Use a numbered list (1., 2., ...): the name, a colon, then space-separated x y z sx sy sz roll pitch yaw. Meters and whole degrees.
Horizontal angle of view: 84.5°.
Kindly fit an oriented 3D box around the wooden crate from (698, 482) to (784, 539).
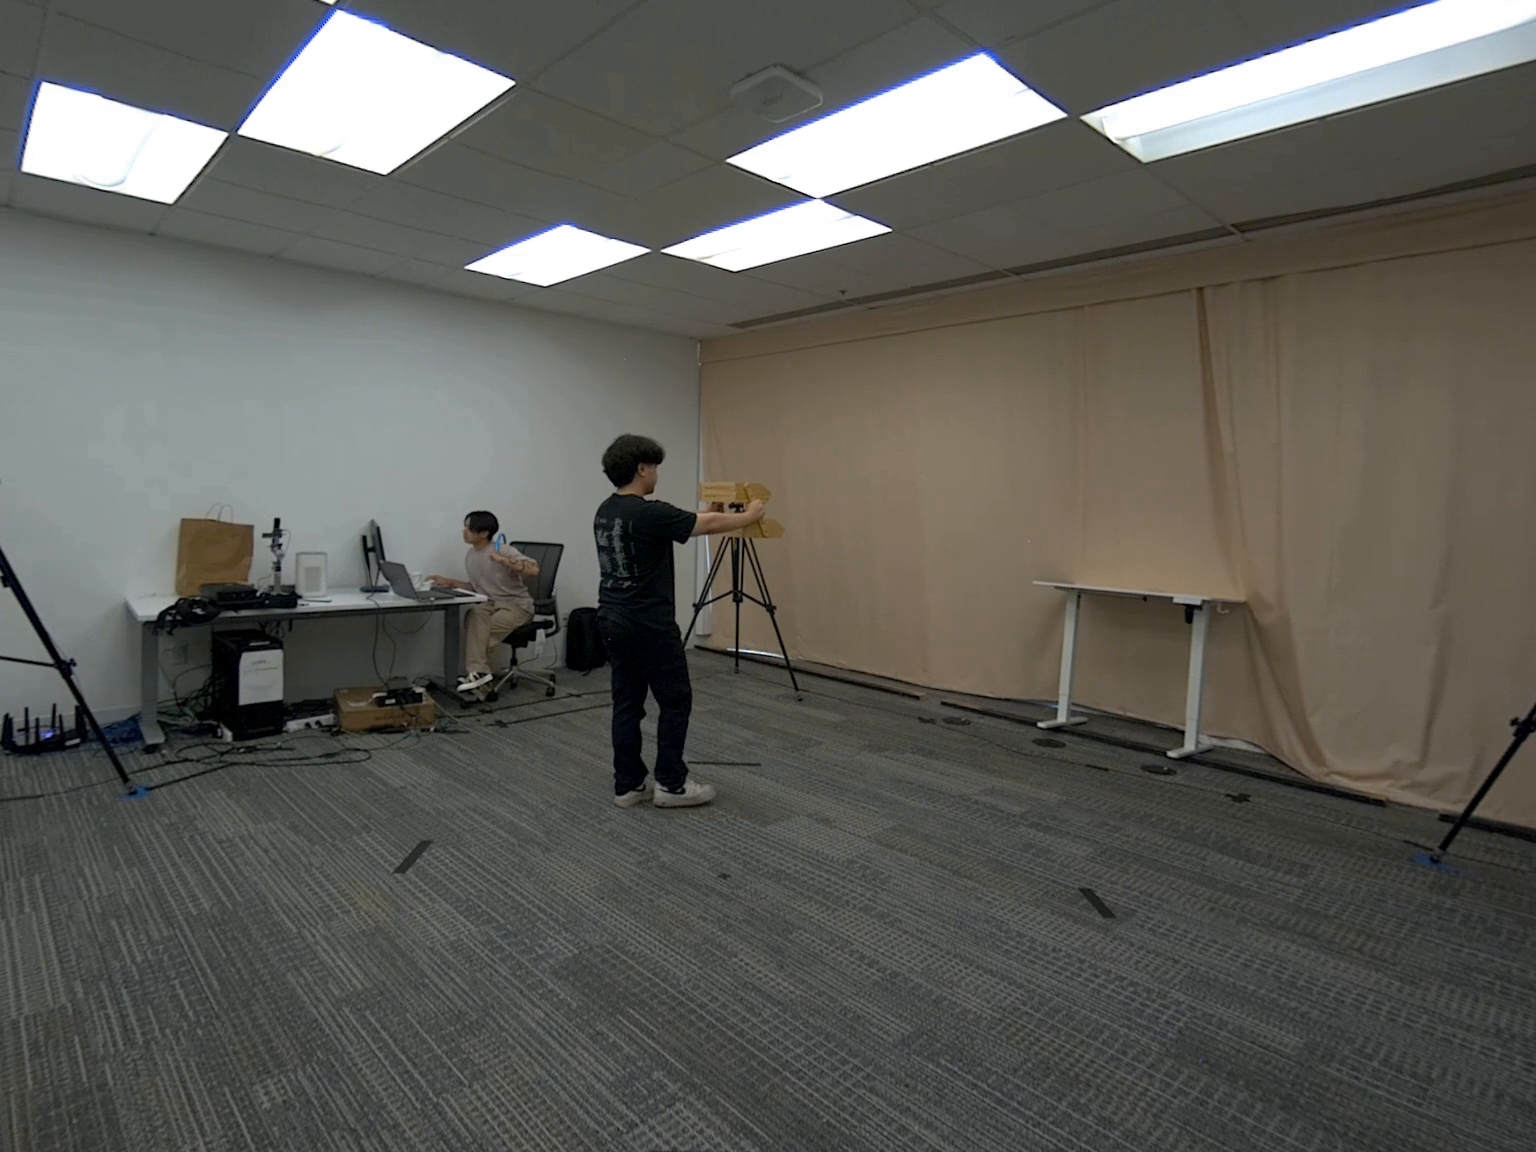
1. wooden crate: -0.134 -0.329 4.114 0.295 0.272 0.332 -2 5 -38
